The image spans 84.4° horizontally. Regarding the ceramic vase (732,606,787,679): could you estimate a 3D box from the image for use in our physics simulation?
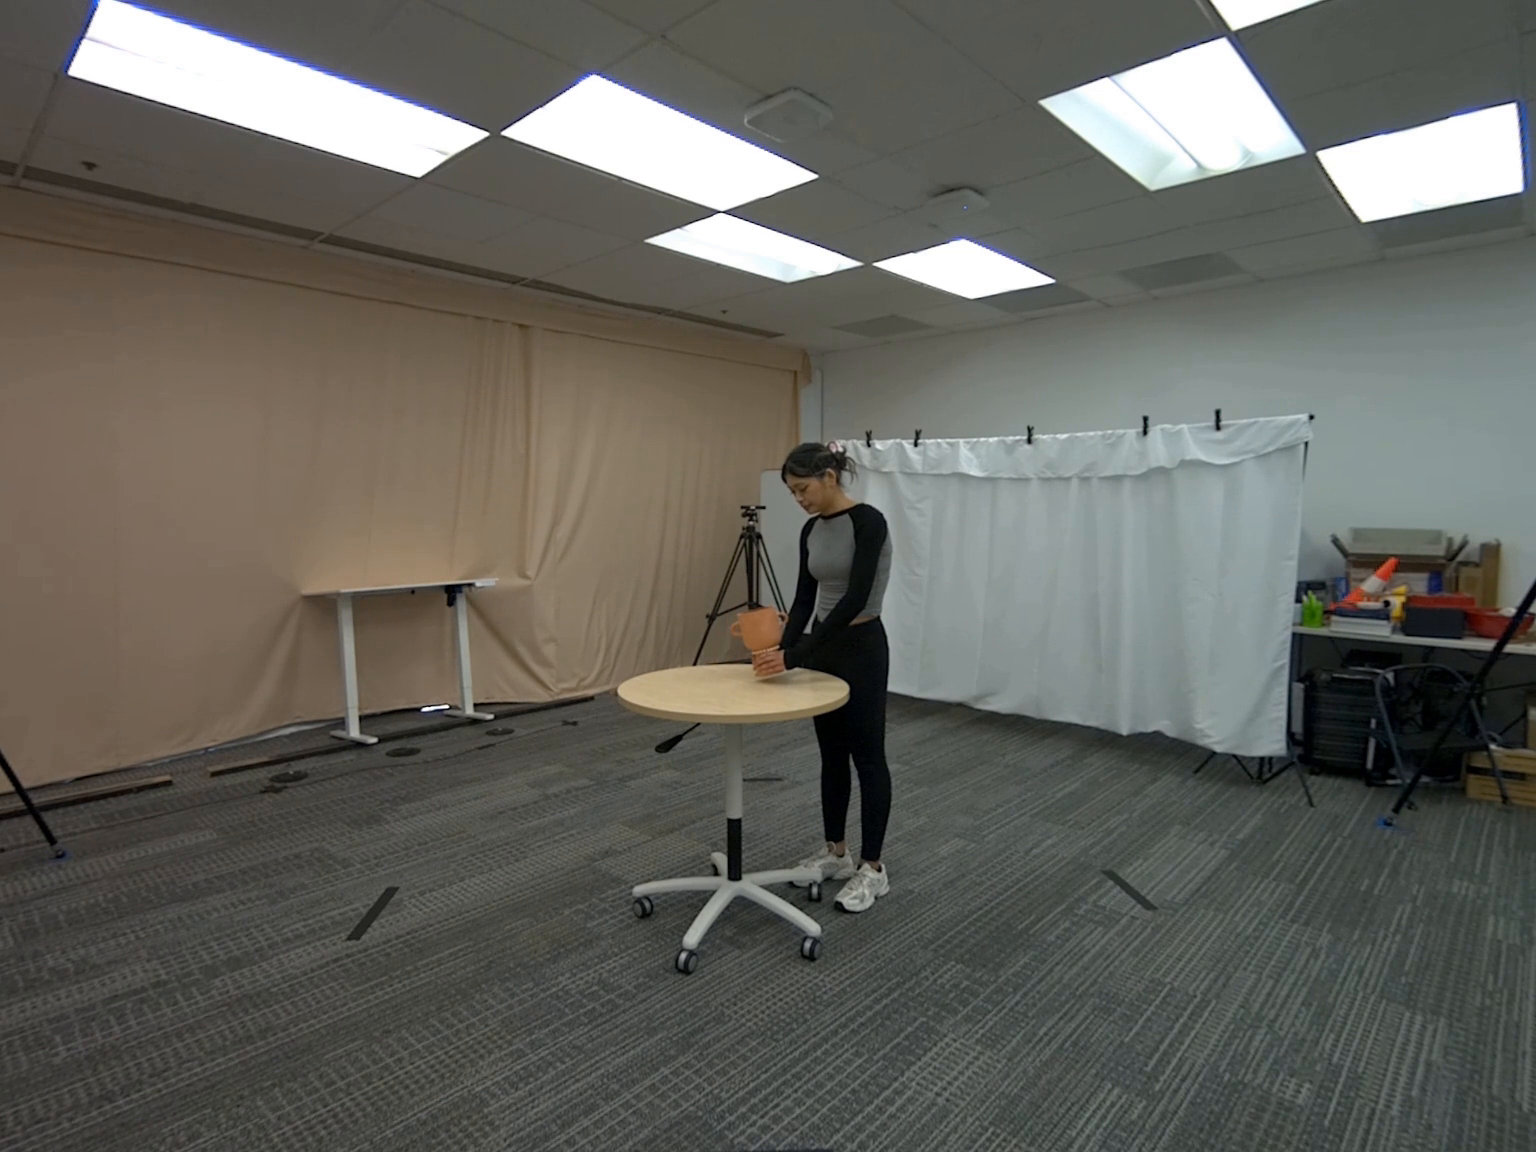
[{"bbox_3d":[-0.025,0.224,2.852,0.163,0.219,0.131,-11,1,36],"label":"ceramic vase"}]
